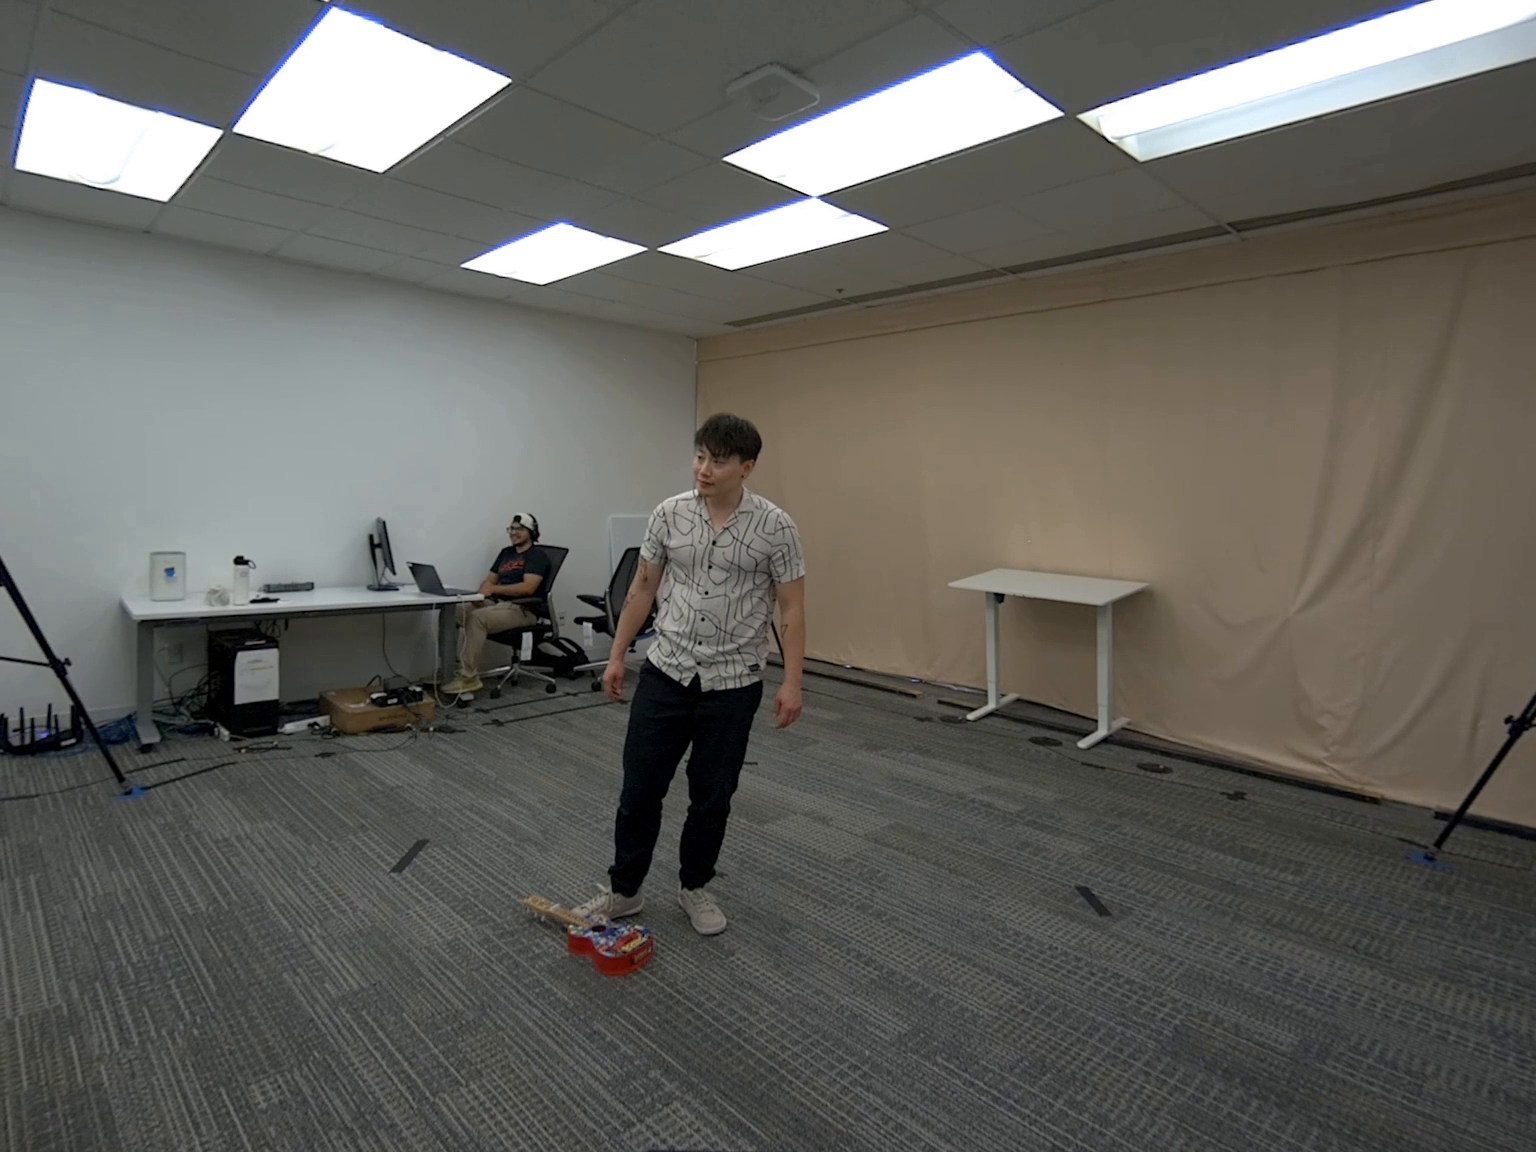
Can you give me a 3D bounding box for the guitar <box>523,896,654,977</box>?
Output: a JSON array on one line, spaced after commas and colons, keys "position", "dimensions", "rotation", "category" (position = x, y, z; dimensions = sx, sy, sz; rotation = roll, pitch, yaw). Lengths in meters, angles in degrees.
[{"position": [-0.577, 1.105, 2.647], "dimensions": [0.511, 0.070, 0.189], "rotation": [7, 8, 43], "category": "guitar"}]
